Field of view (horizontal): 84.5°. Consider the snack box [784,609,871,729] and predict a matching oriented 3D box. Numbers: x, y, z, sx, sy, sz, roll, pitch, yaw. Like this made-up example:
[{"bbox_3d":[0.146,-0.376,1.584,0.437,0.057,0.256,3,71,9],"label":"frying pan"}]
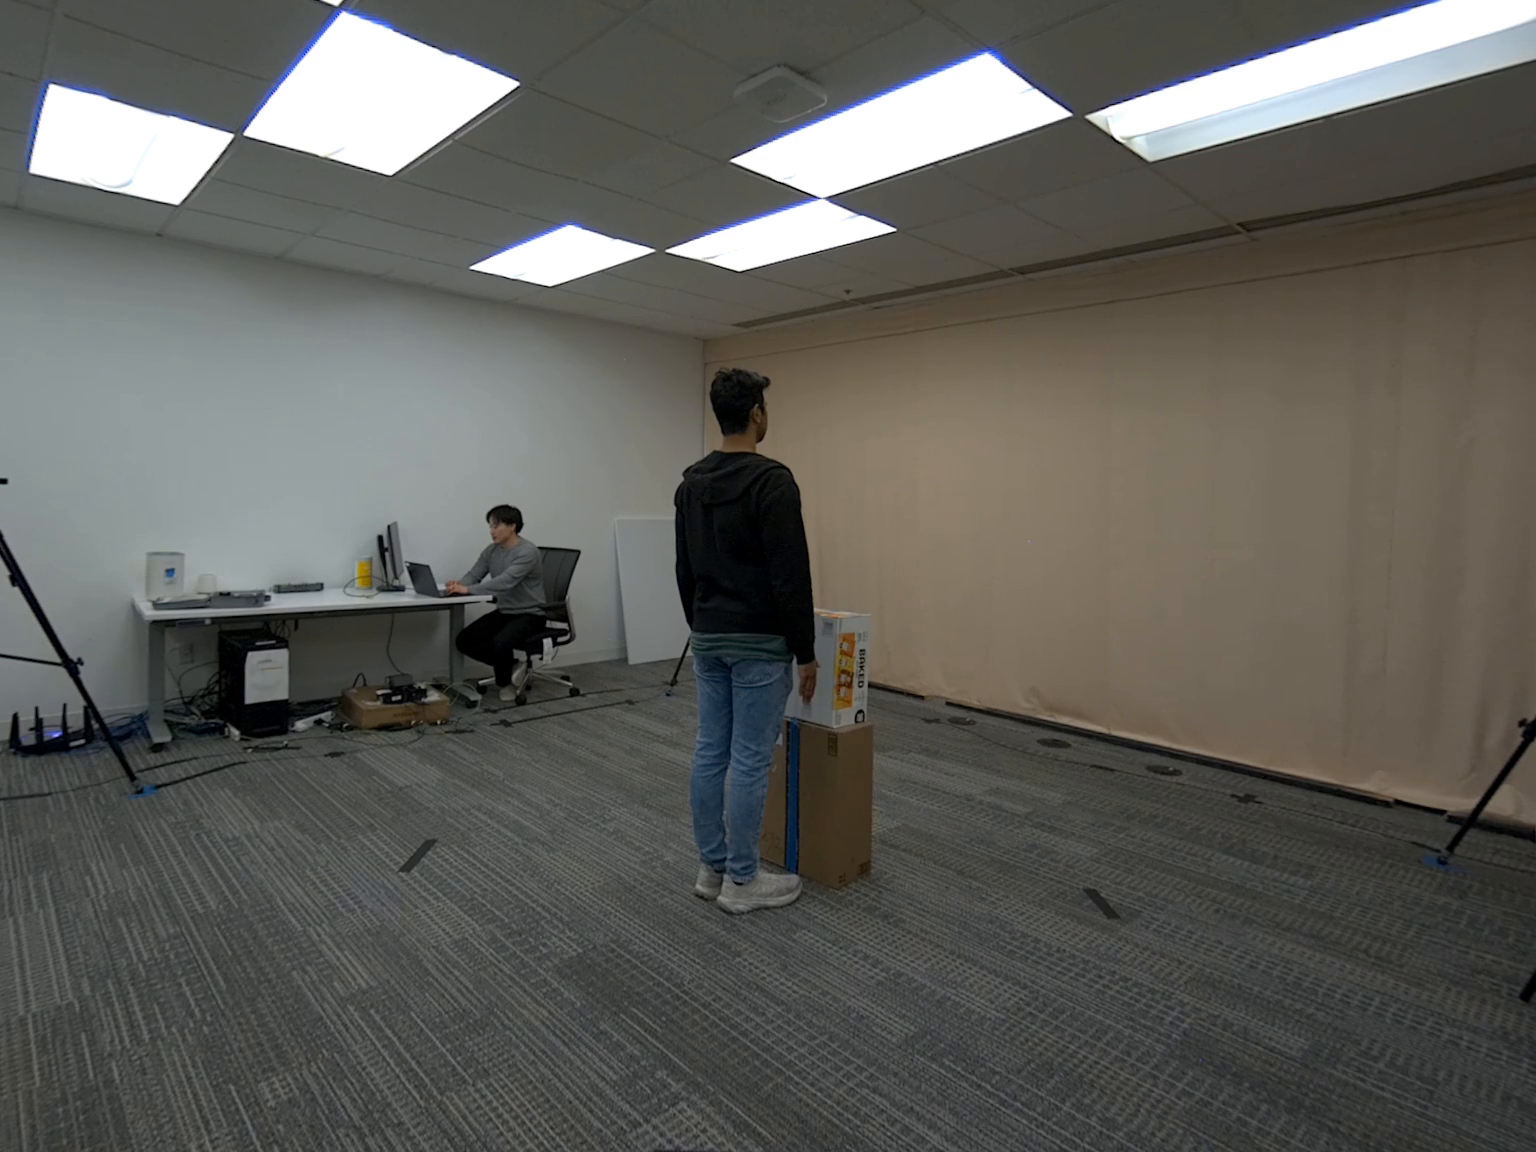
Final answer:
[{"bbox_3d":[0.178,0.334,3.216,0.201,0.404,0.349,1,3,-45],"label":"snack box"}]
